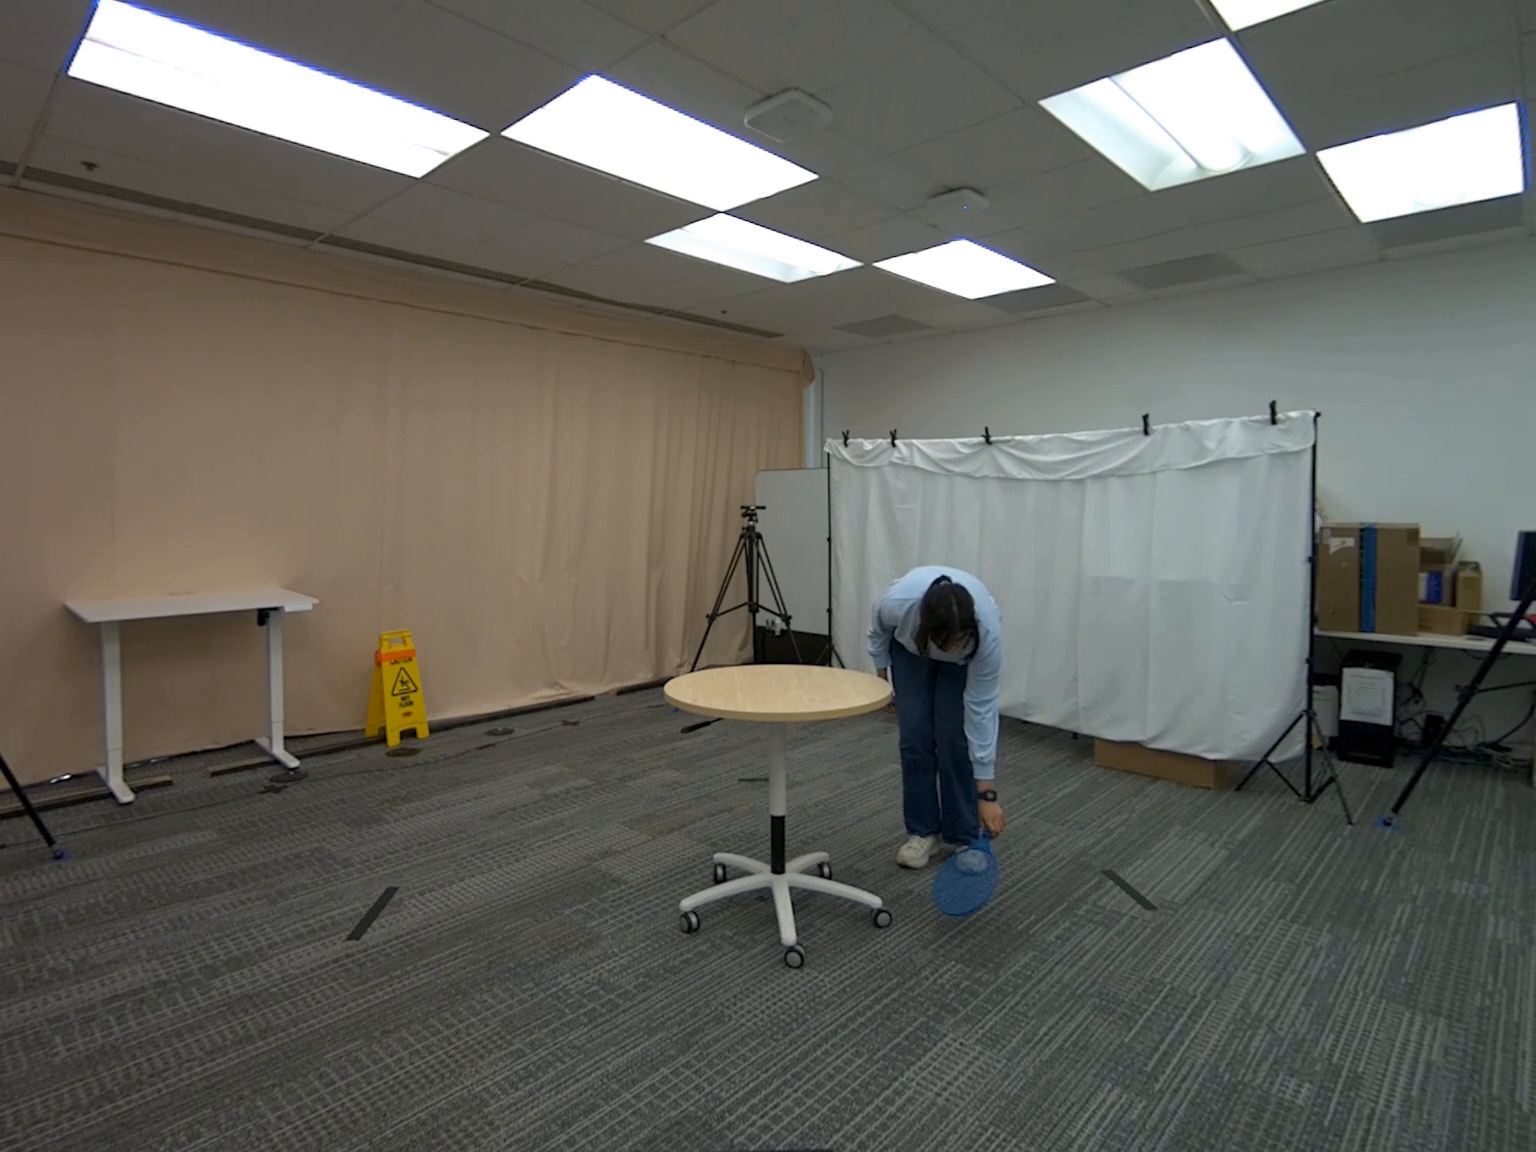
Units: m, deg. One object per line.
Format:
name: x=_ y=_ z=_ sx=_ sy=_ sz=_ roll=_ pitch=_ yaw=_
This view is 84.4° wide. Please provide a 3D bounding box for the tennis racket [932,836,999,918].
tennis racket: x=0.702 y=0.968 z=2.839 sx=0.220 sy=0.031 sz=0.430 roll=-5 pitch=34 yaw=42
